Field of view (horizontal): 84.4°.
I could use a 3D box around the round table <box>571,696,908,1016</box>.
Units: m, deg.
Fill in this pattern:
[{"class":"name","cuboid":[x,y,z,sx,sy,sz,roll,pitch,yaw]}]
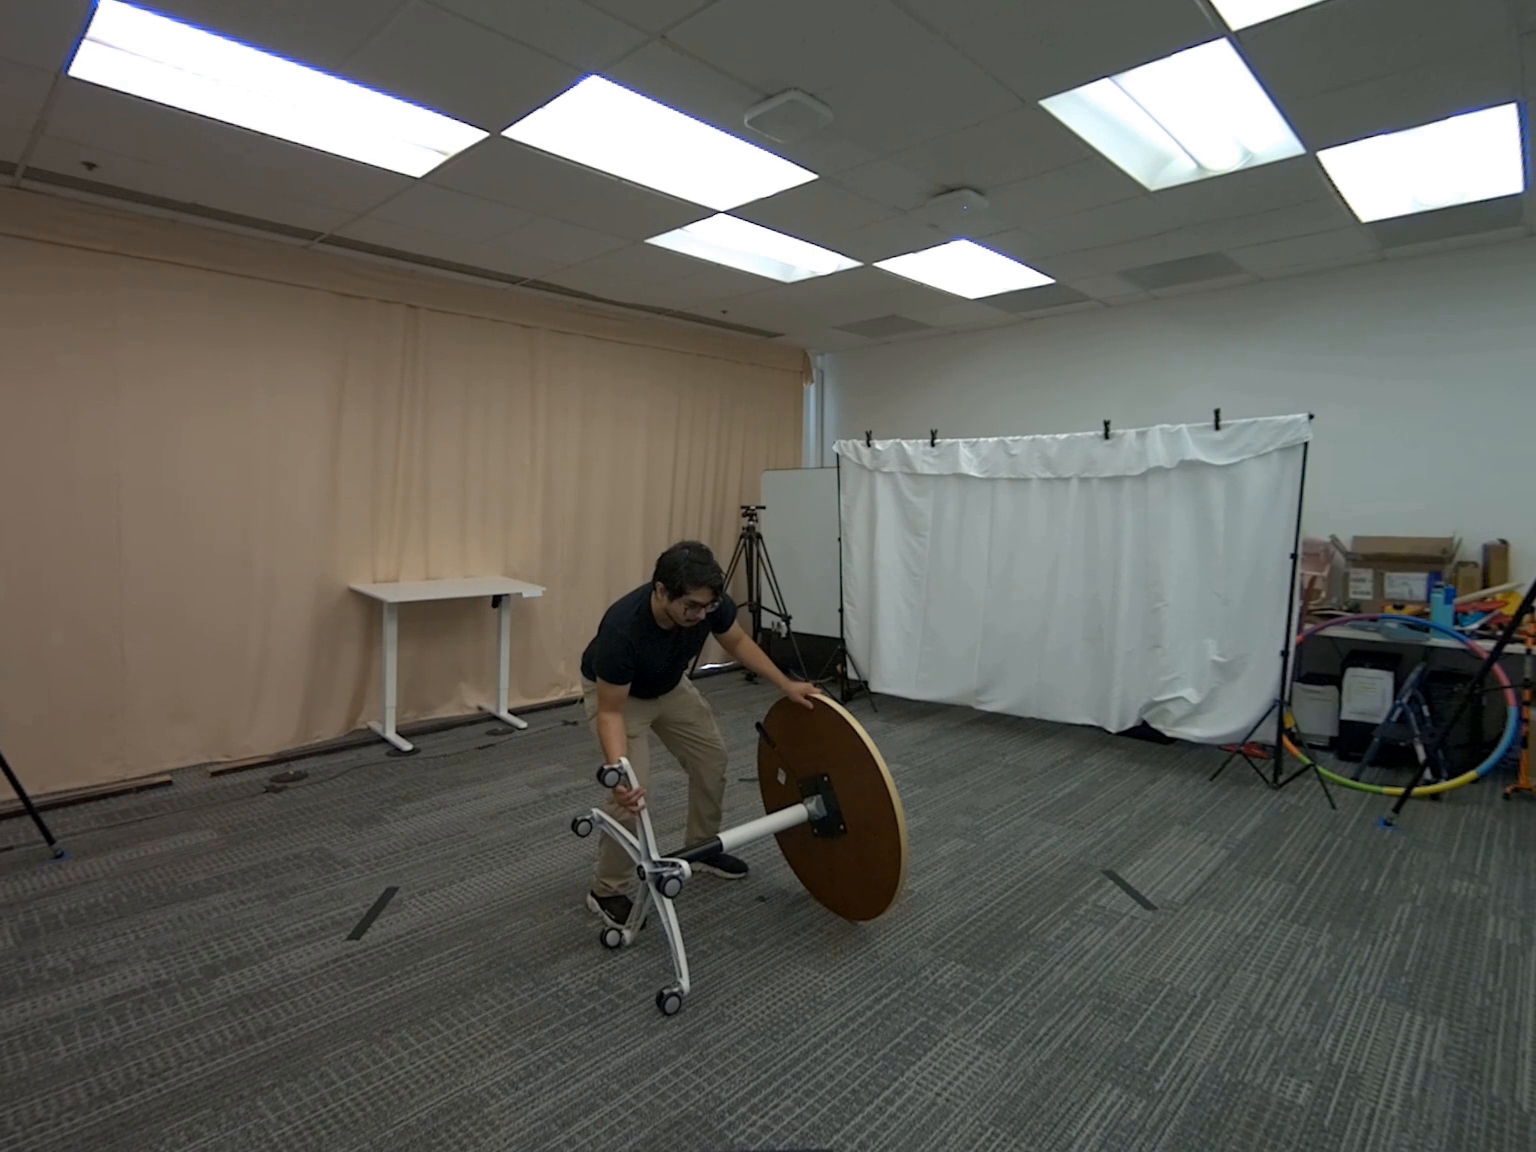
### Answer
[{"class":"round table","cuboid":[-0.113,0.838,2.654,0.767,0.781,0.809,-11,9,-33]}]
